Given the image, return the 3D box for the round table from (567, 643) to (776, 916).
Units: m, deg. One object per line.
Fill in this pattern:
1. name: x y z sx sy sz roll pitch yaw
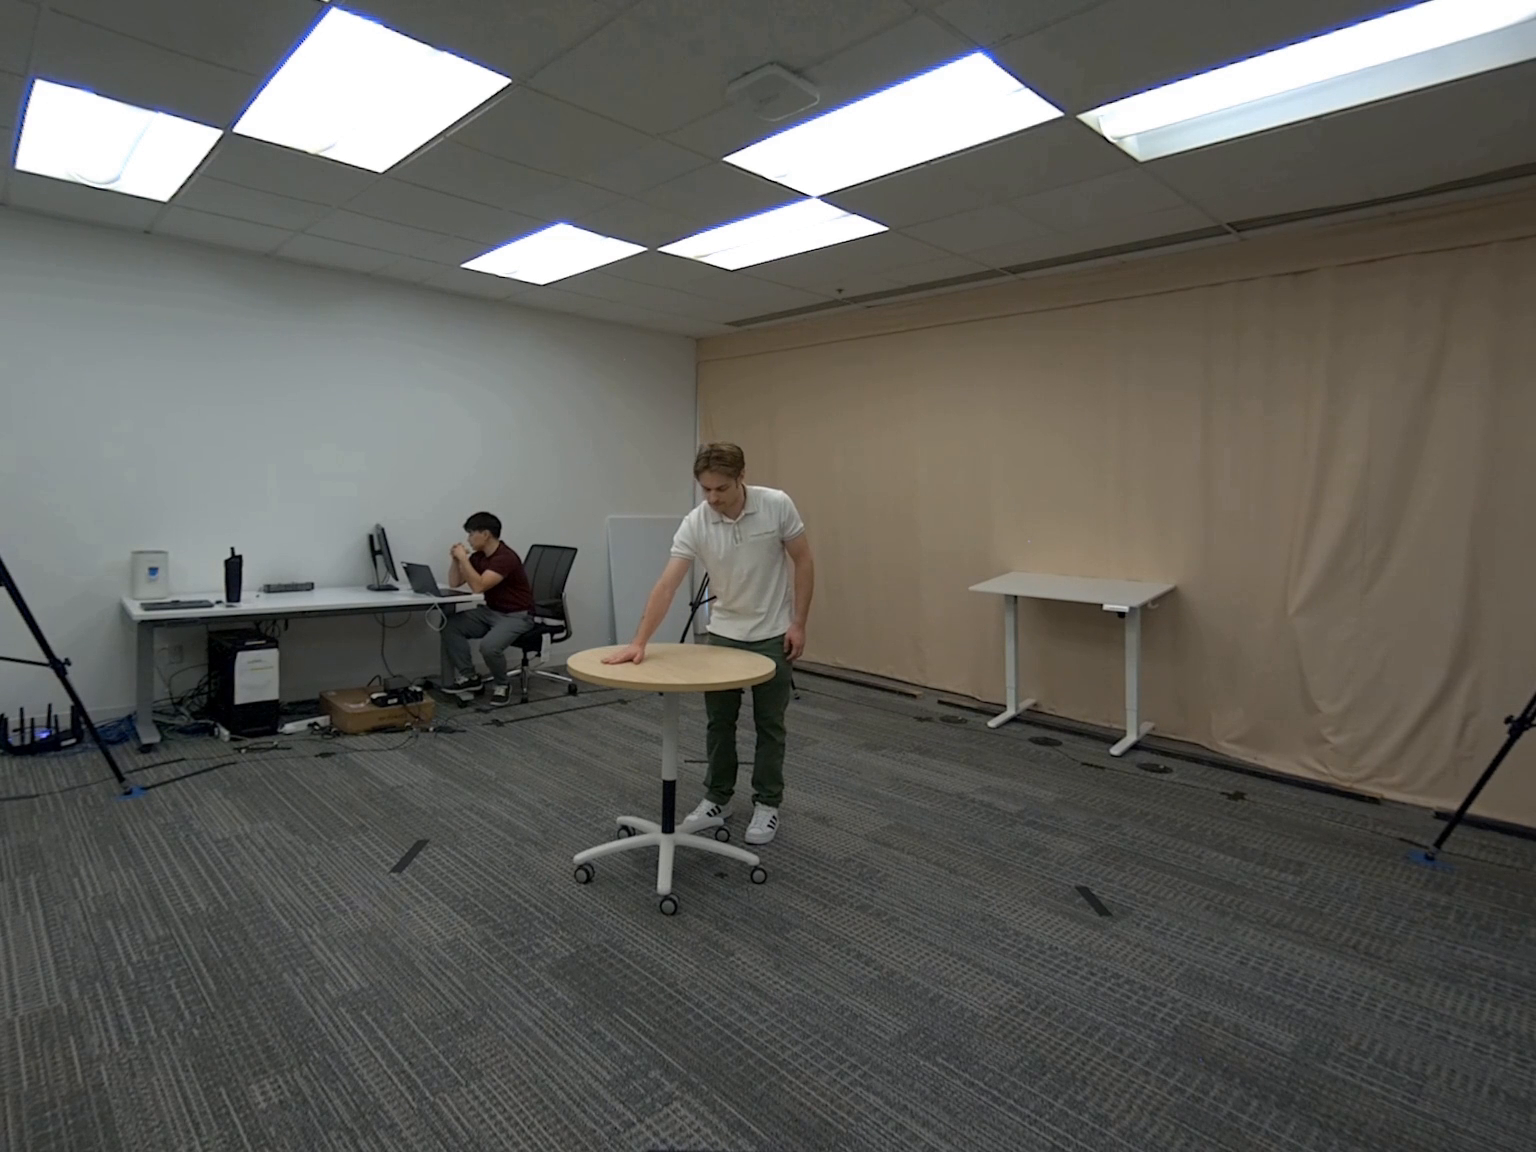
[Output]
1. round table: -0.386 0.703 3.120 0.784 0.785 0.787 2 4 -1
